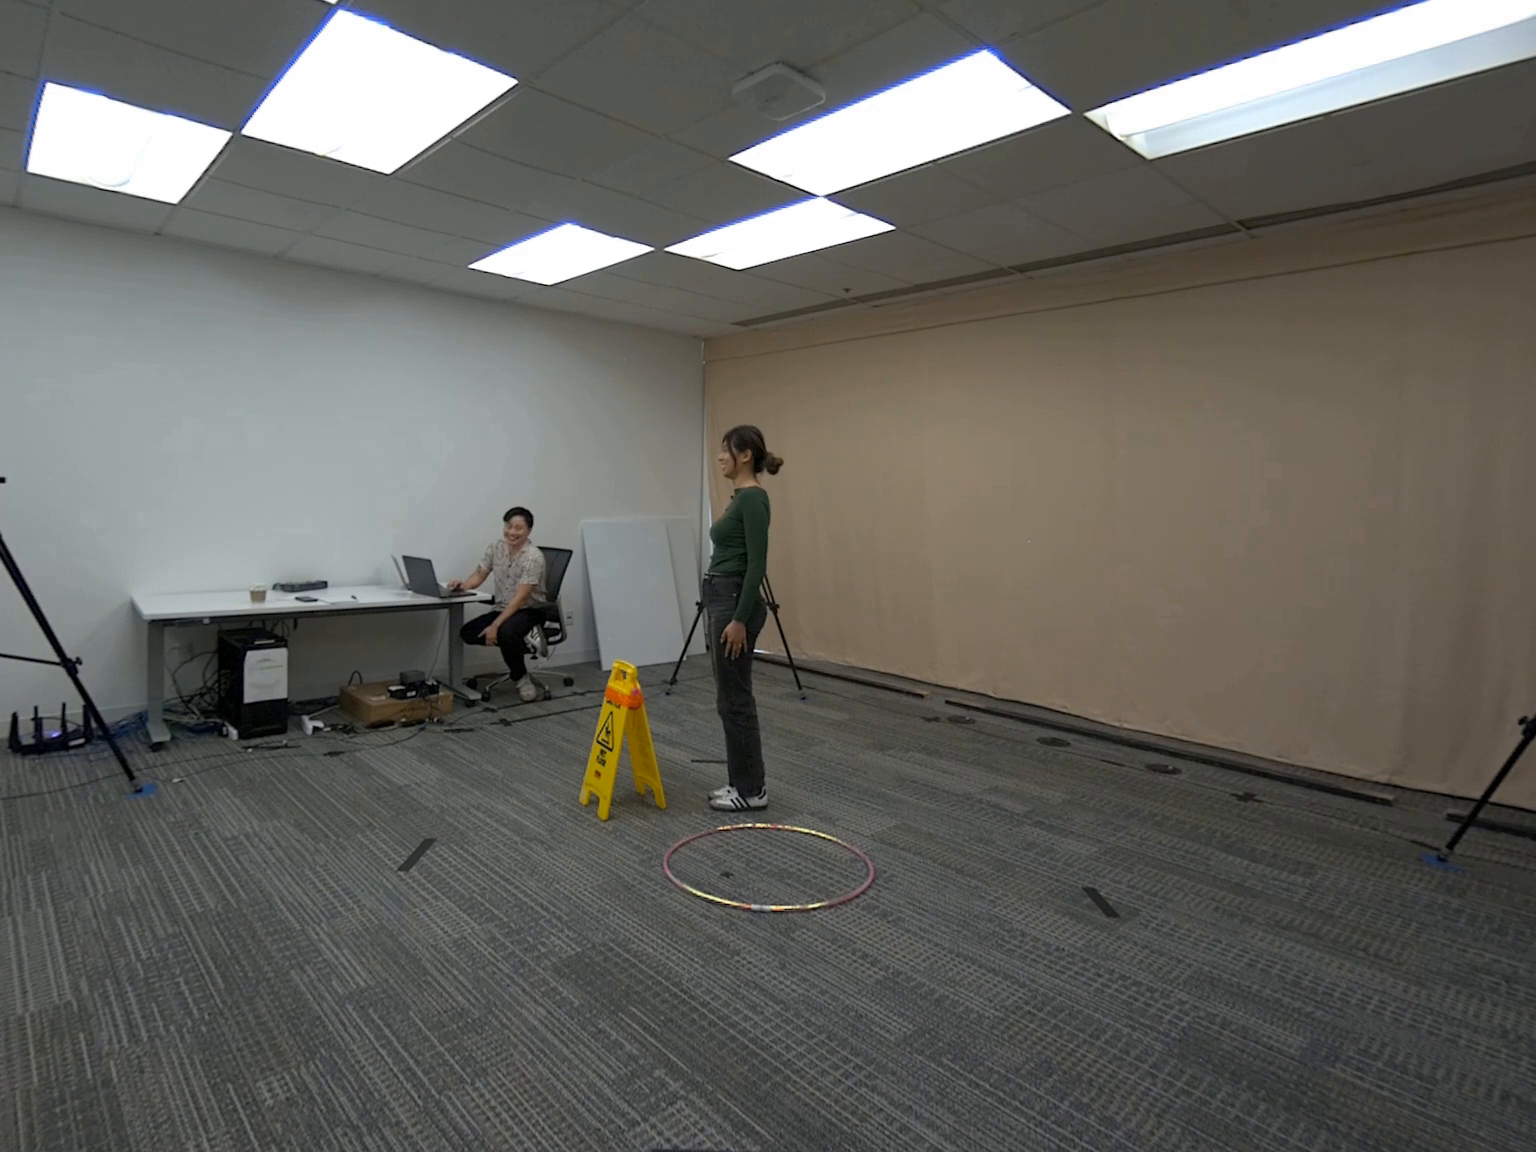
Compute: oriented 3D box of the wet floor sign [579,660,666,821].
[{"bbox_3d":[-0.651,0.709,3.766,0.283,0.644,0.289,0,4,-35],"label":"wet floor sign"}]
